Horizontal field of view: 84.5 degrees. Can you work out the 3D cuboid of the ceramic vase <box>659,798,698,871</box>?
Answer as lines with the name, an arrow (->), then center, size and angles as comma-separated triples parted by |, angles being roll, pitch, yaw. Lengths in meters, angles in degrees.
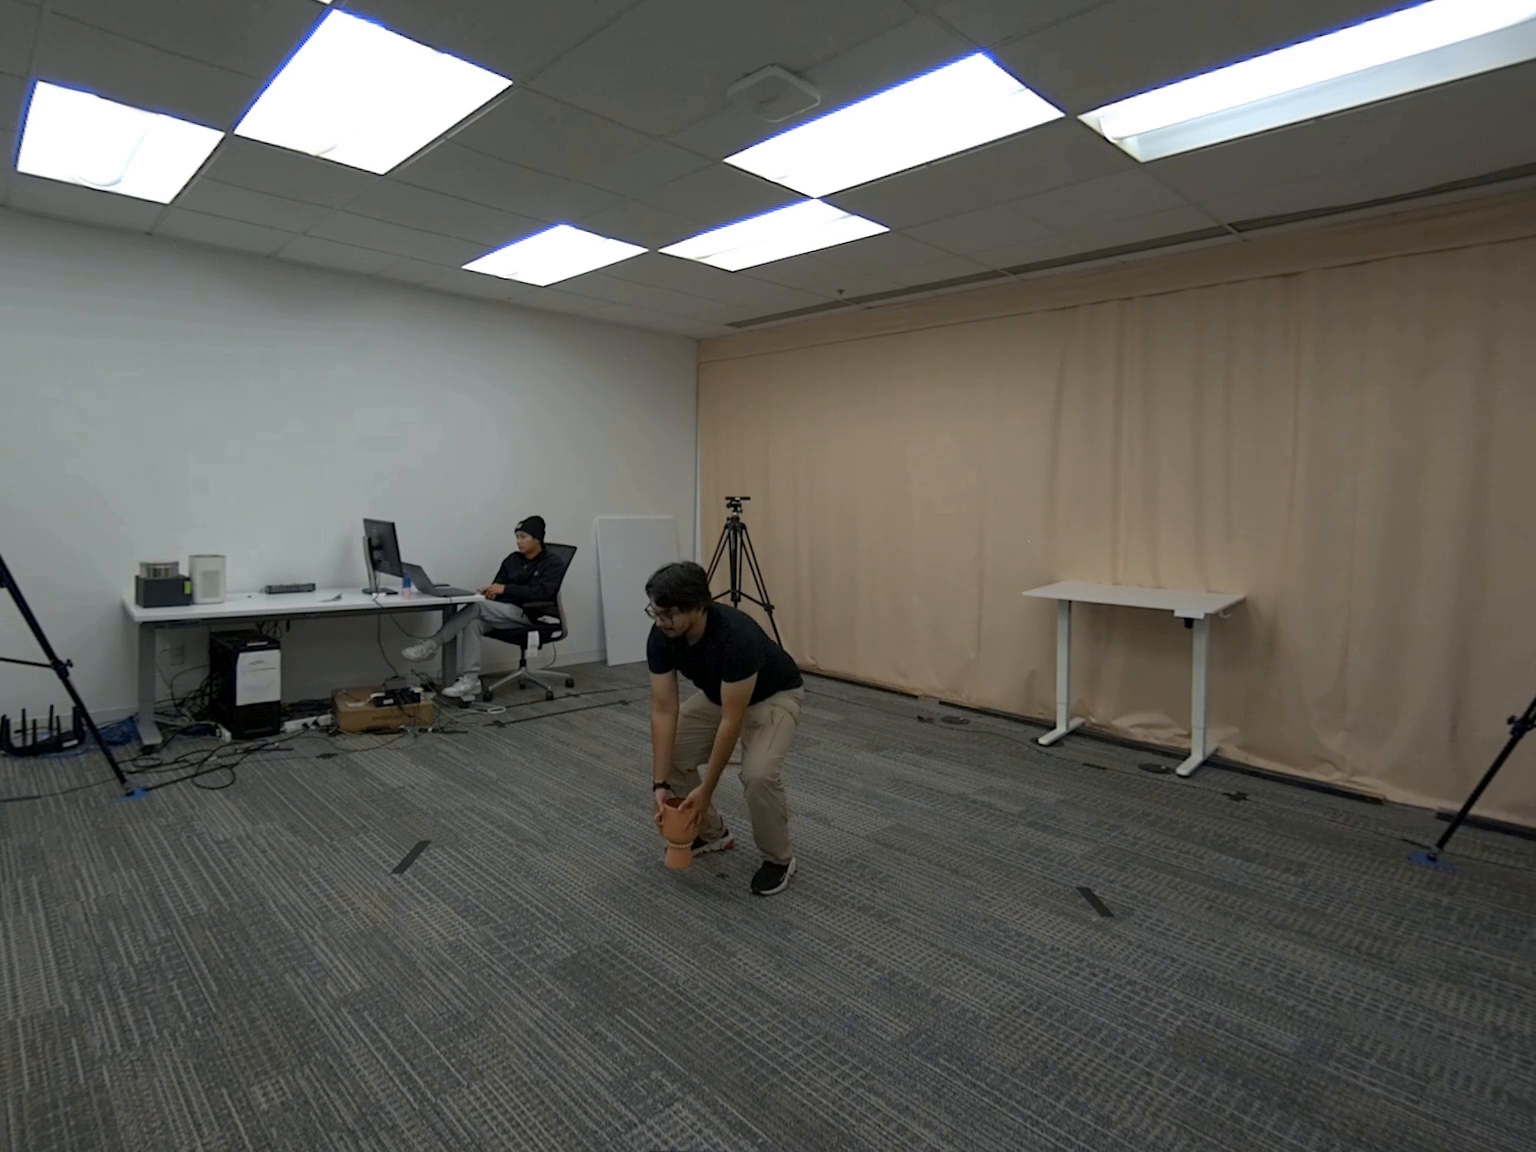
ceramic vase -> -0.326, 0.898, 2.987 | 0.160, 0.219, 0.134 | 1, 4, 7
